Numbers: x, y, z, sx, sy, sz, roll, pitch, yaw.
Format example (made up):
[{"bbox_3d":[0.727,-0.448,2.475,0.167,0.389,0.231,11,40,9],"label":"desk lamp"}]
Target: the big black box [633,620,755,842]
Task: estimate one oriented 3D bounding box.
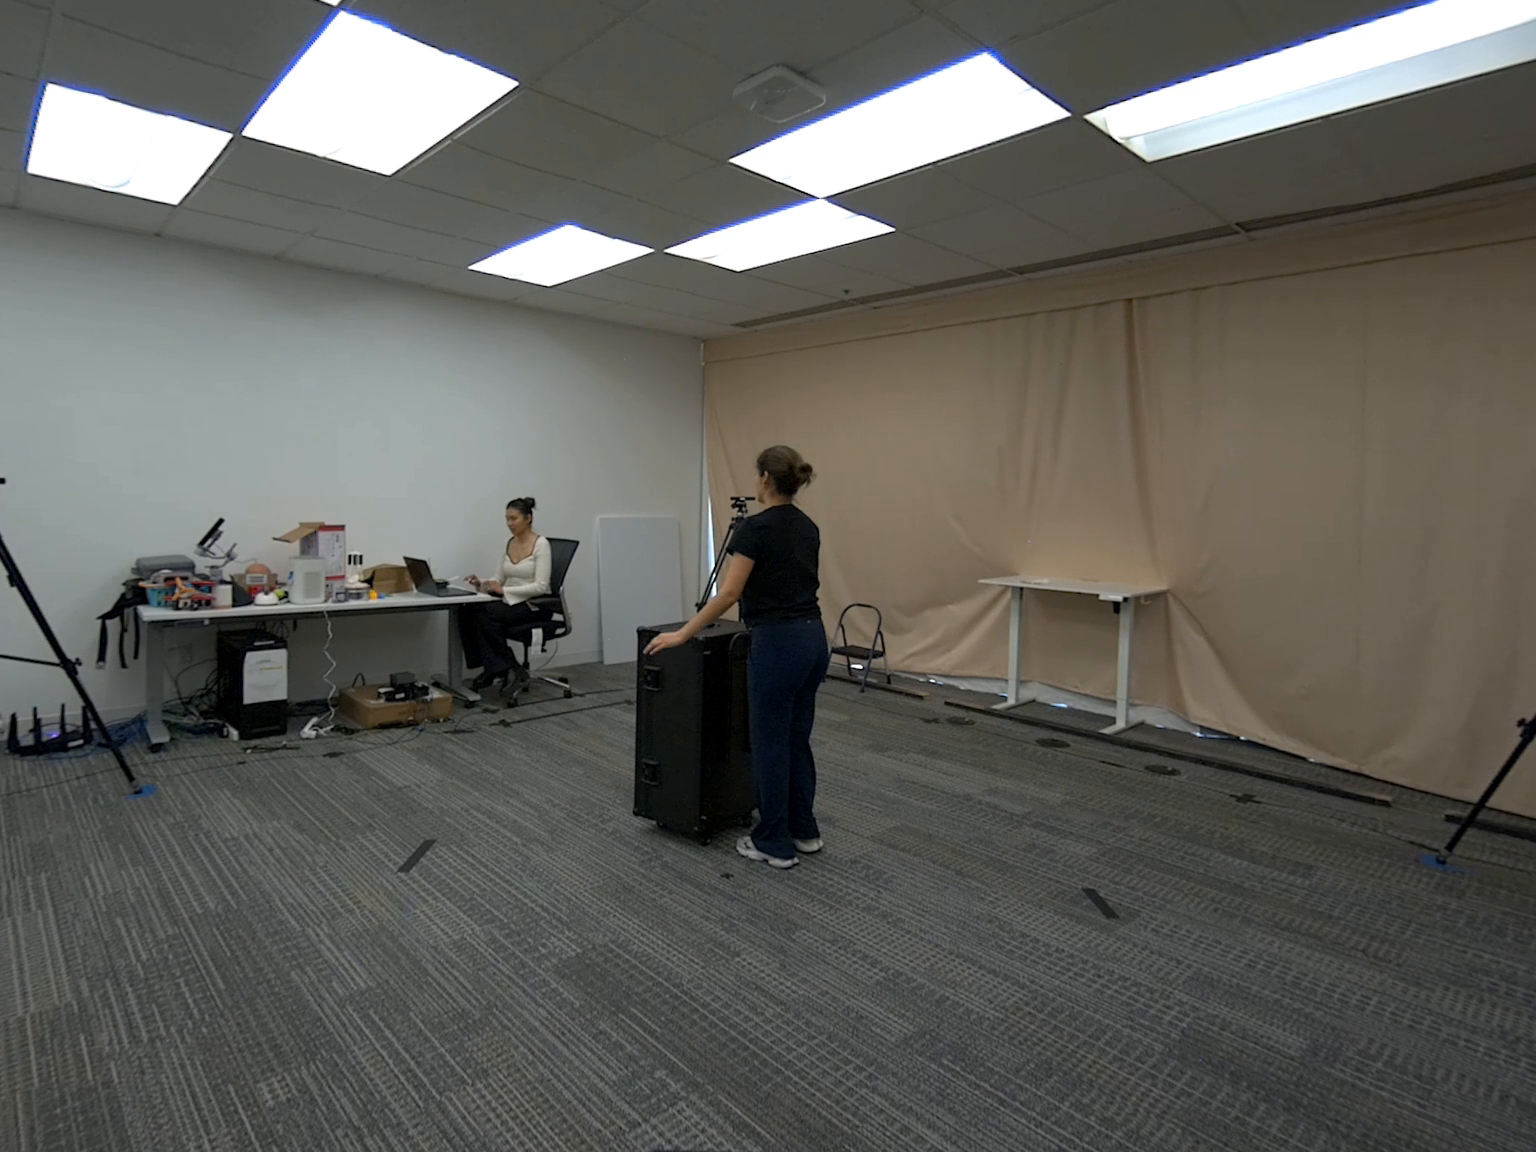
[{"bbox_3d":[-0.267,0.588,3.543,0.406,0.859,0.510,4,4,36],"label":"big black box"}]
